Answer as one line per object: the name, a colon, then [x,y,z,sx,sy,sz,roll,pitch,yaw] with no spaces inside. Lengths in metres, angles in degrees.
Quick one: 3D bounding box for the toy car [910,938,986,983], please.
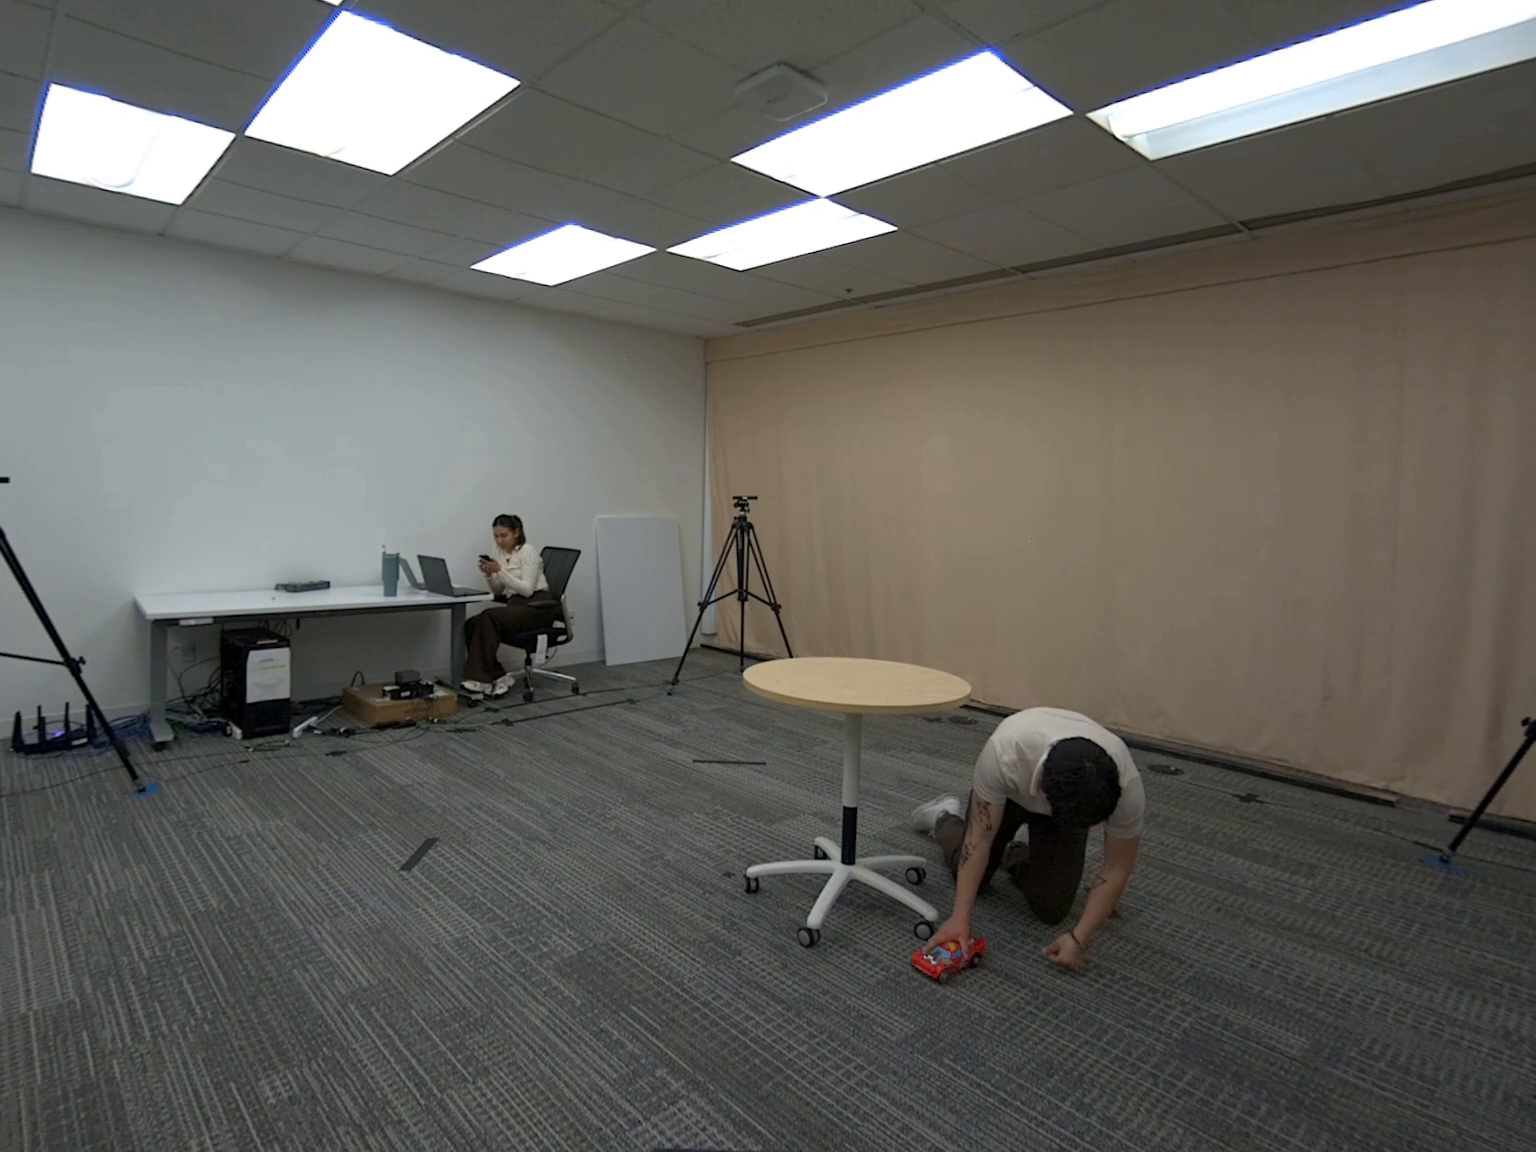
toy car: [0.552,1.144,2.530,0.250,0.082,0.133,-16,14,-36]
